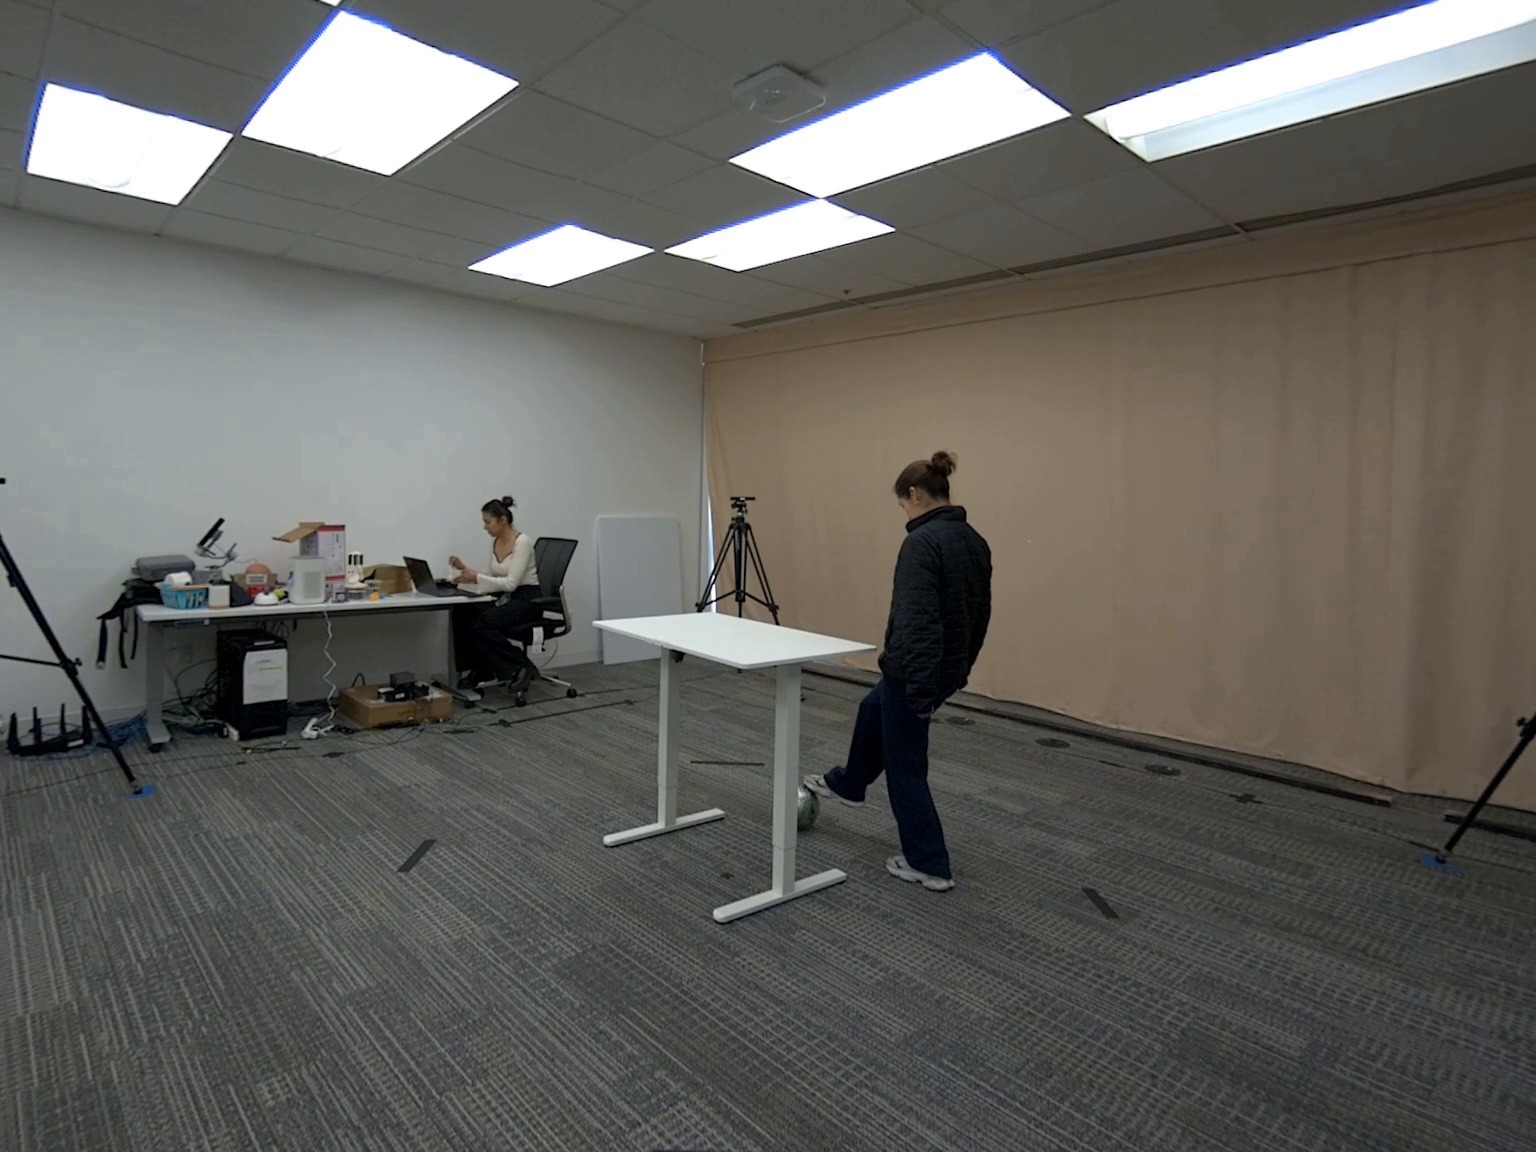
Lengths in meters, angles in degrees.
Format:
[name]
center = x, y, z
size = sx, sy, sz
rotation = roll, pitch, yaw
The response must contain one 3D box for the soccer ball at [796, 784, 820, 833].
[soccer ball]
center = 0.129, 0.975, 3.584
size = 0.187, 0.187, 0.188
rotation = 1, 4, -1
